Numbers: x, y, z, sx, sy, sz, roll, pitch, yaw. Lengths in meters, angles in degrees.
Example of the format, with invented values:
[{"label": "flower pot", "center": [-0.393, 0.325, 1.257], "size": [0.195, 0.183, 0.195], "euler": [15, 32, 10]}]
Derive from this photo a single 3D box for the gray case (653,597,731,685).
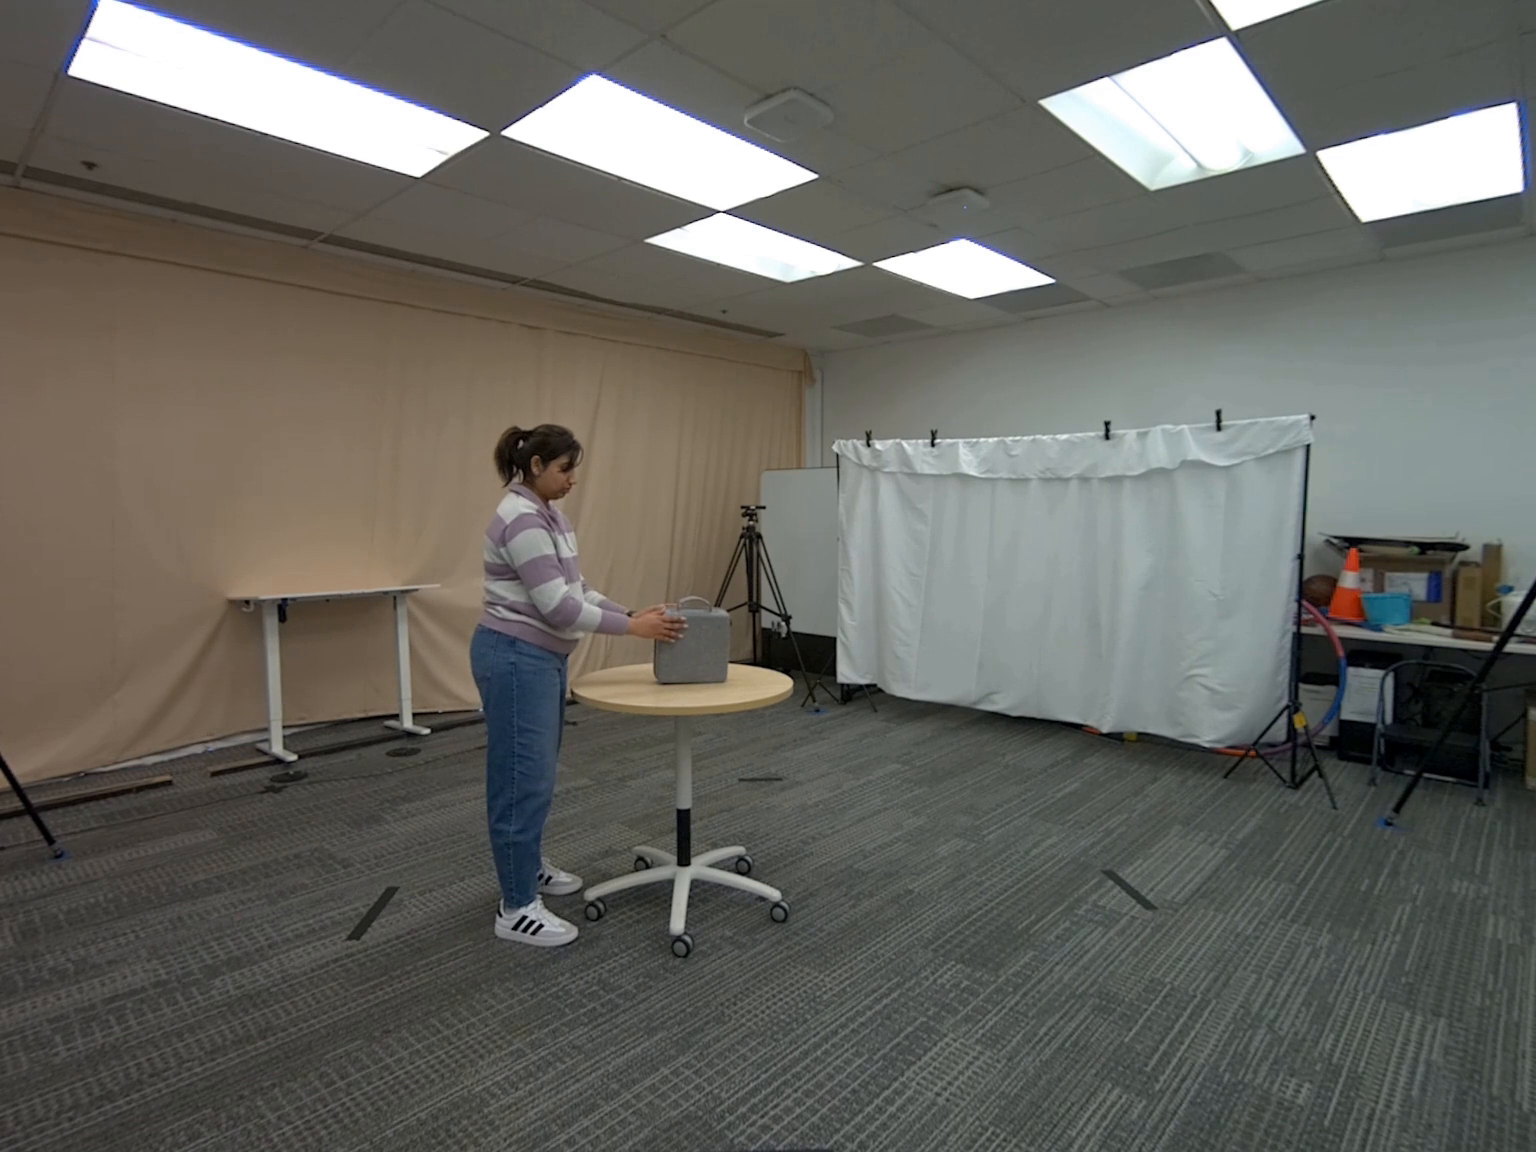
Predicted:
[{"label": "gray case", "center": [-0.260, 0.239, 2.893], "size": [0.255, 0.259, 0.106], "euler": [0, 10, -7]}]
